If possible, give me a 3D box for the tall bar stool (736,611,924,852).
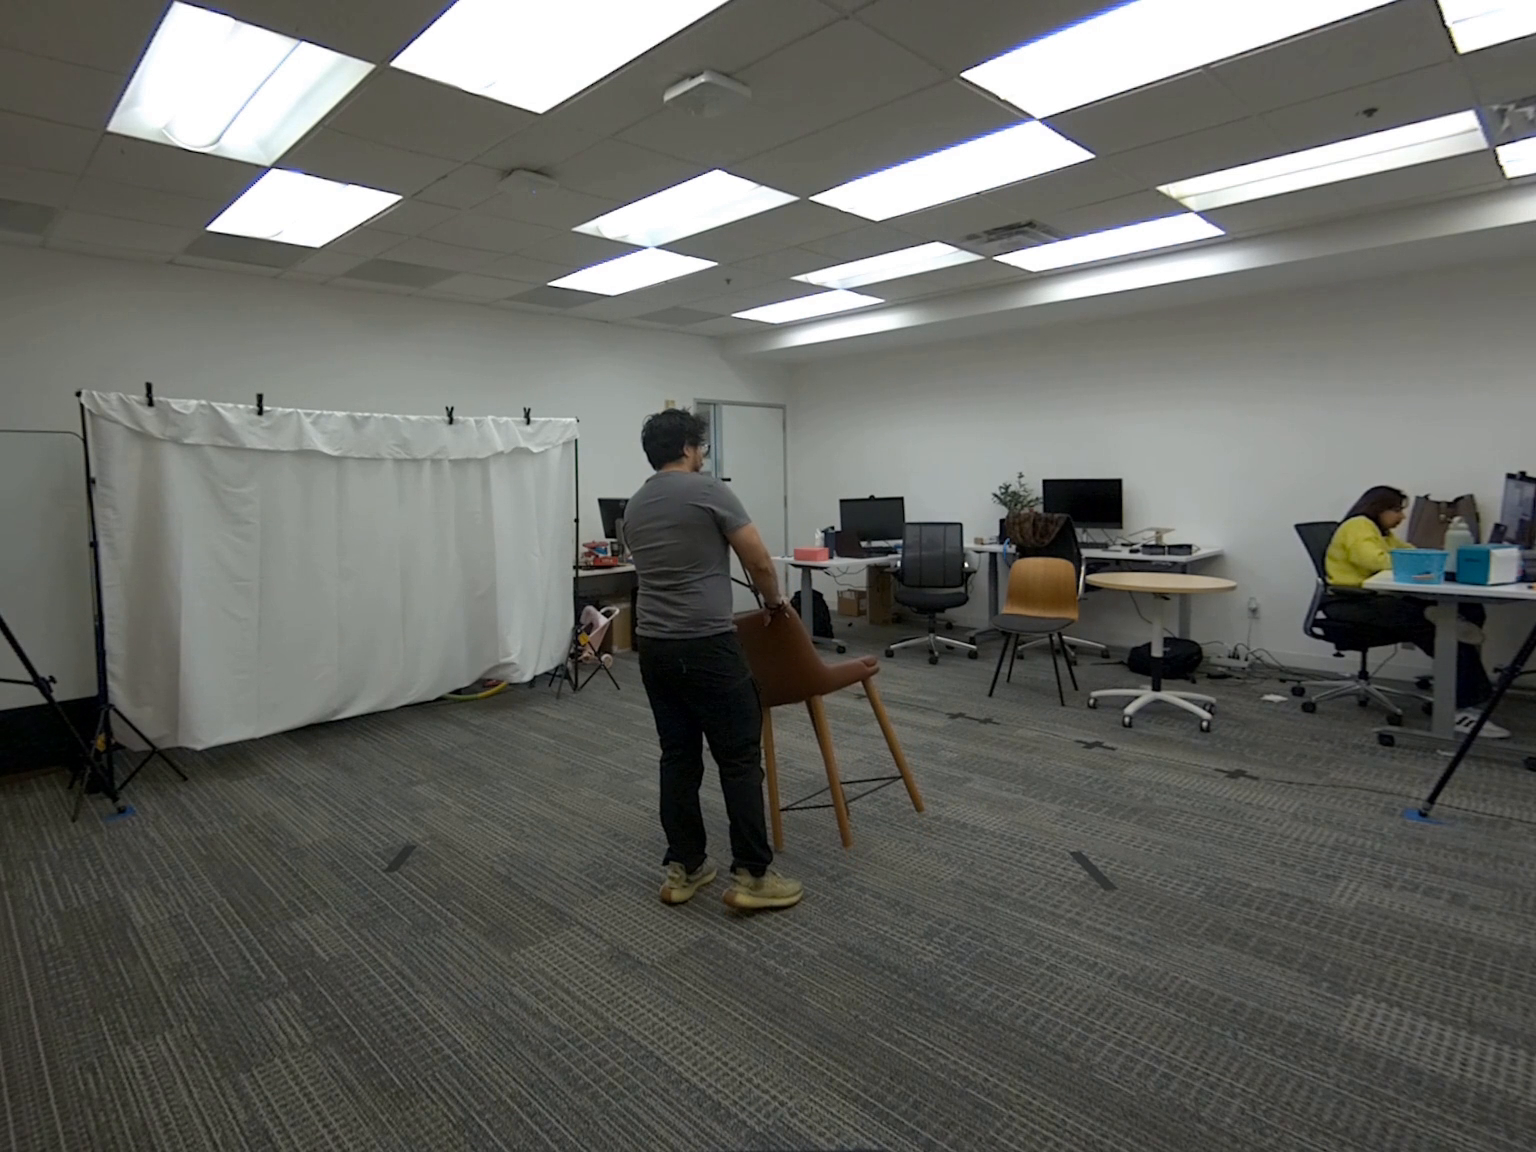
[{"bbox_3d":[0.186,0.546,3.294,0.456,0.898,0.464,-9,-10,-44],"label":"tall bar stool"}]
